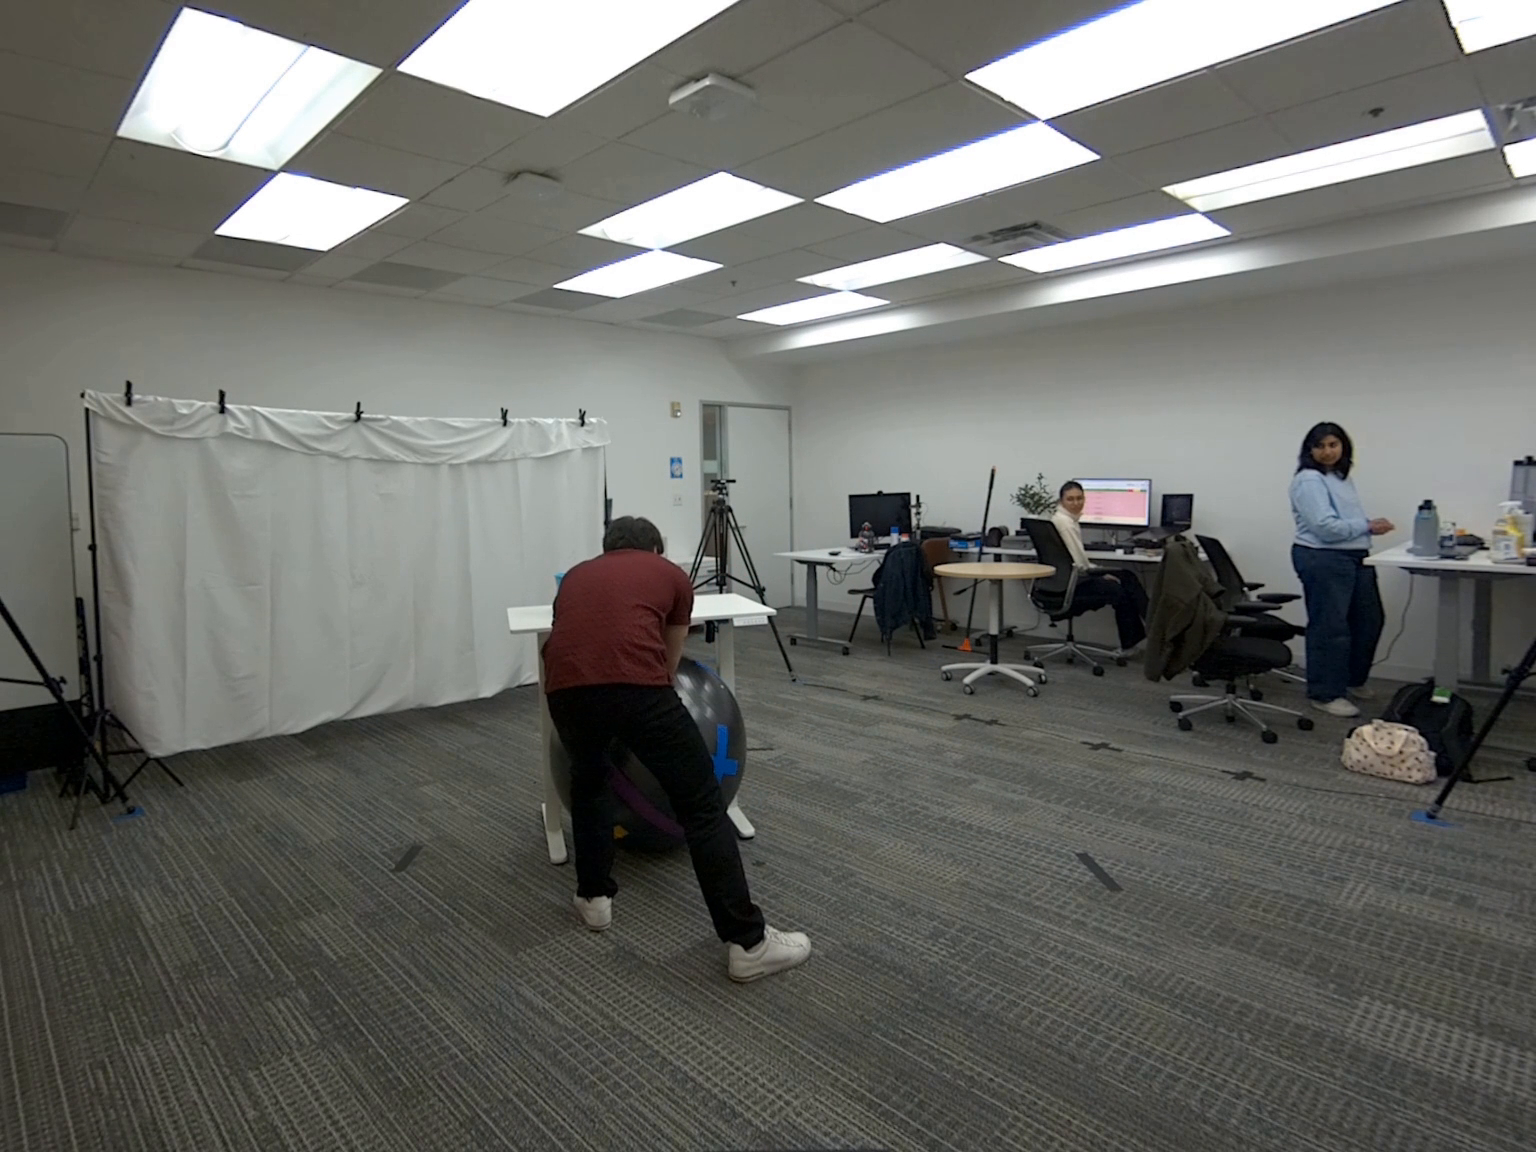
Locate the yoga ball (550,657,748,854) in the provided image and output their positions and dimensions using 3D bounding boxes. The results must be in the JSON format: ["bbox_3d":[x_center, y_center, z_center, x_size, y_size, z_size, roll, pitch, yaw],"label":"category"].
[{"bbox_3d":[-0.460,0.670,3.311,0.757,0.755,0.762,-1,5,-2],"label":"yoga ball"}]
